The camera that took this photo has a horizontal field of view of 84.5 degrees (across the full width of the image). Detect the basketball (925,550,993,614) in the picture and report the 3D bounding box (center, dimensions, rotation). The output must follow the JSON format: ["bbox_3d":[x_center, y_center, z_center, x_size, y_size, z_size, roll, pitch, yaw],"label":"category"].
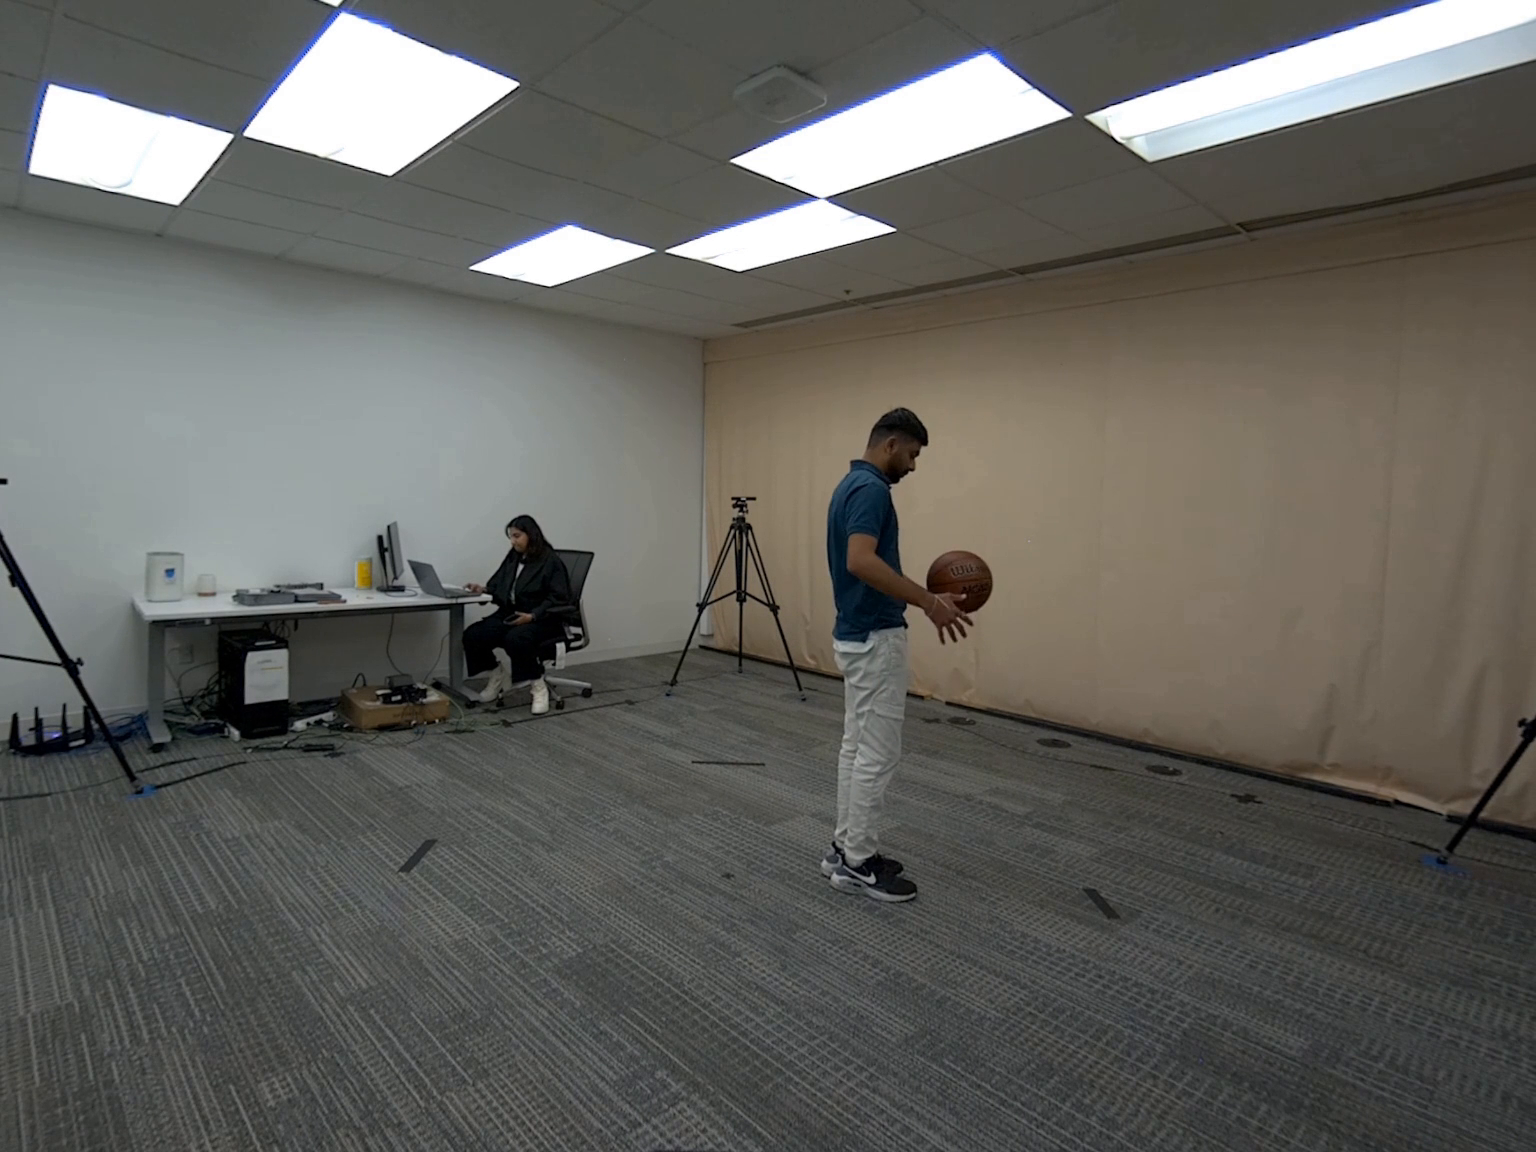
[{"bbox_3d":[0.686,0.025,3.120,0.236,0.235,0.237,1,4,-1],"label":"basketball"}]
